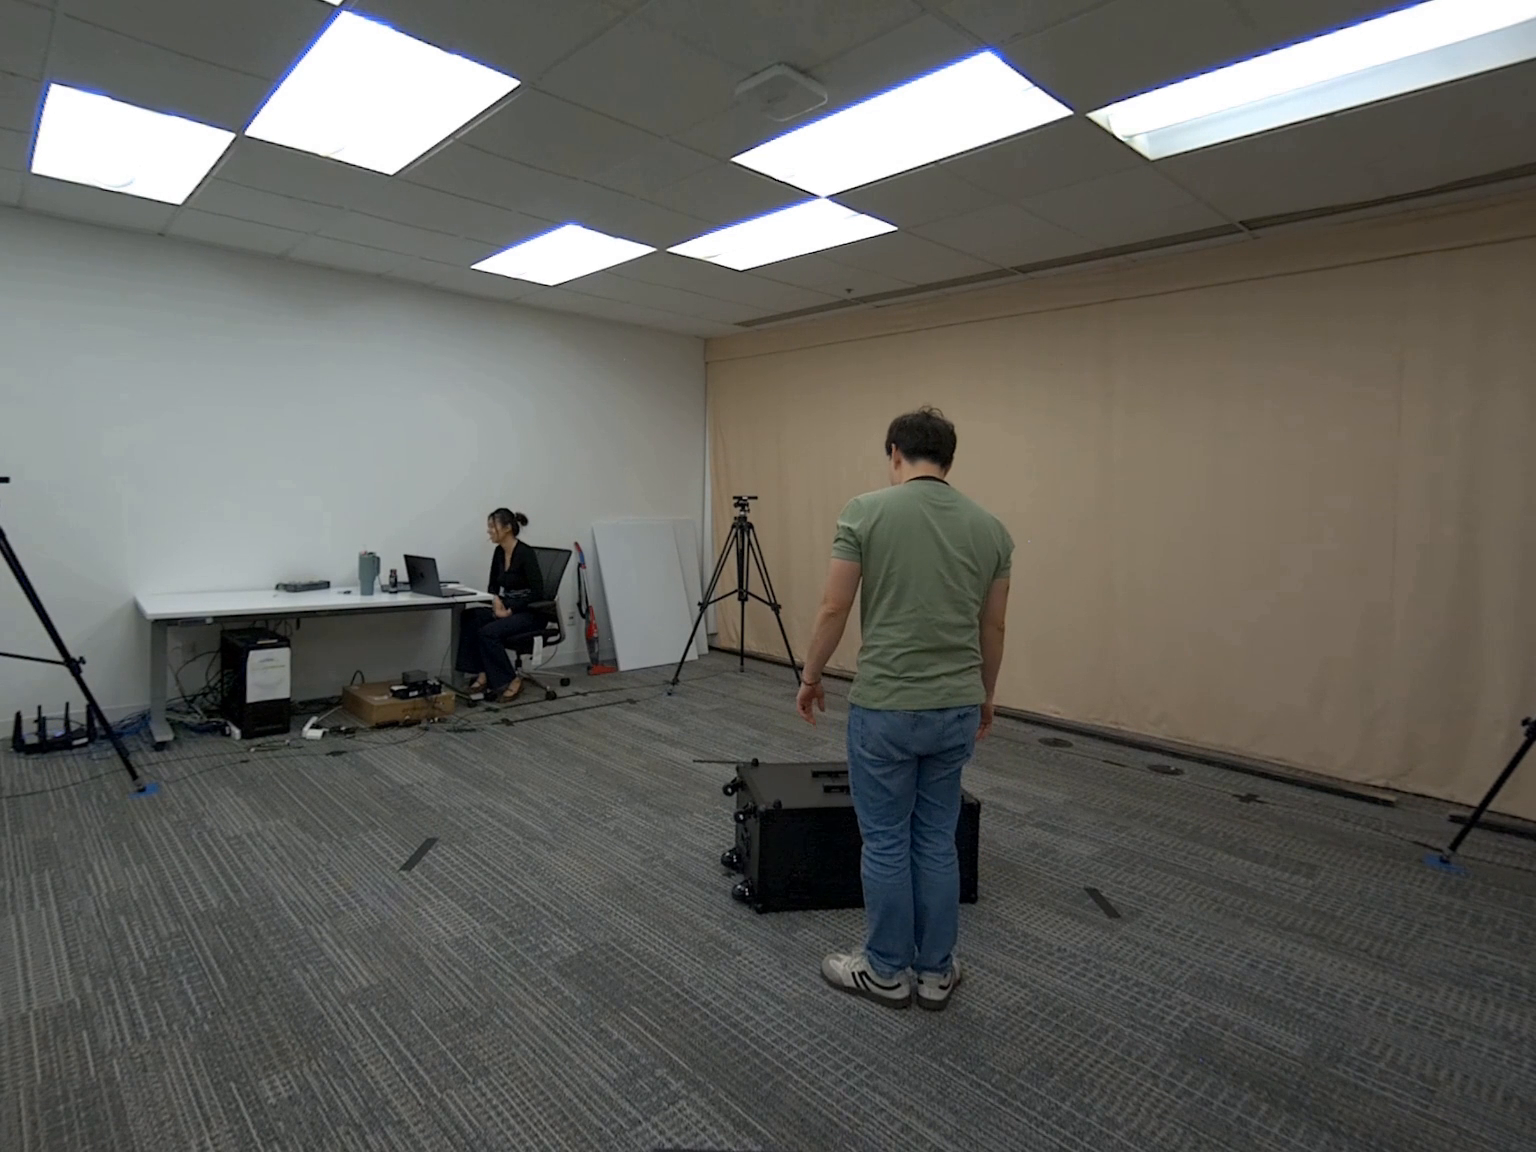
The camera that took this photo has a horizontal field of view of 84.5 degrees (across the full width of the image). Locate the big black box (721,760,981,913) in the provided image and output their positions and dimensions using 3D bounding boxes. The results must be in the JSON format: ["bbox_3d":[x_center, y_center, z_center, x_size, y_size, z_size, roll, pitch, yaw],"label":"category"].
[{"bbox_3d":[0.265,0.921,3.085,0.855,0.395,0.527,-1,4,-10],"label":"big black box"}]
